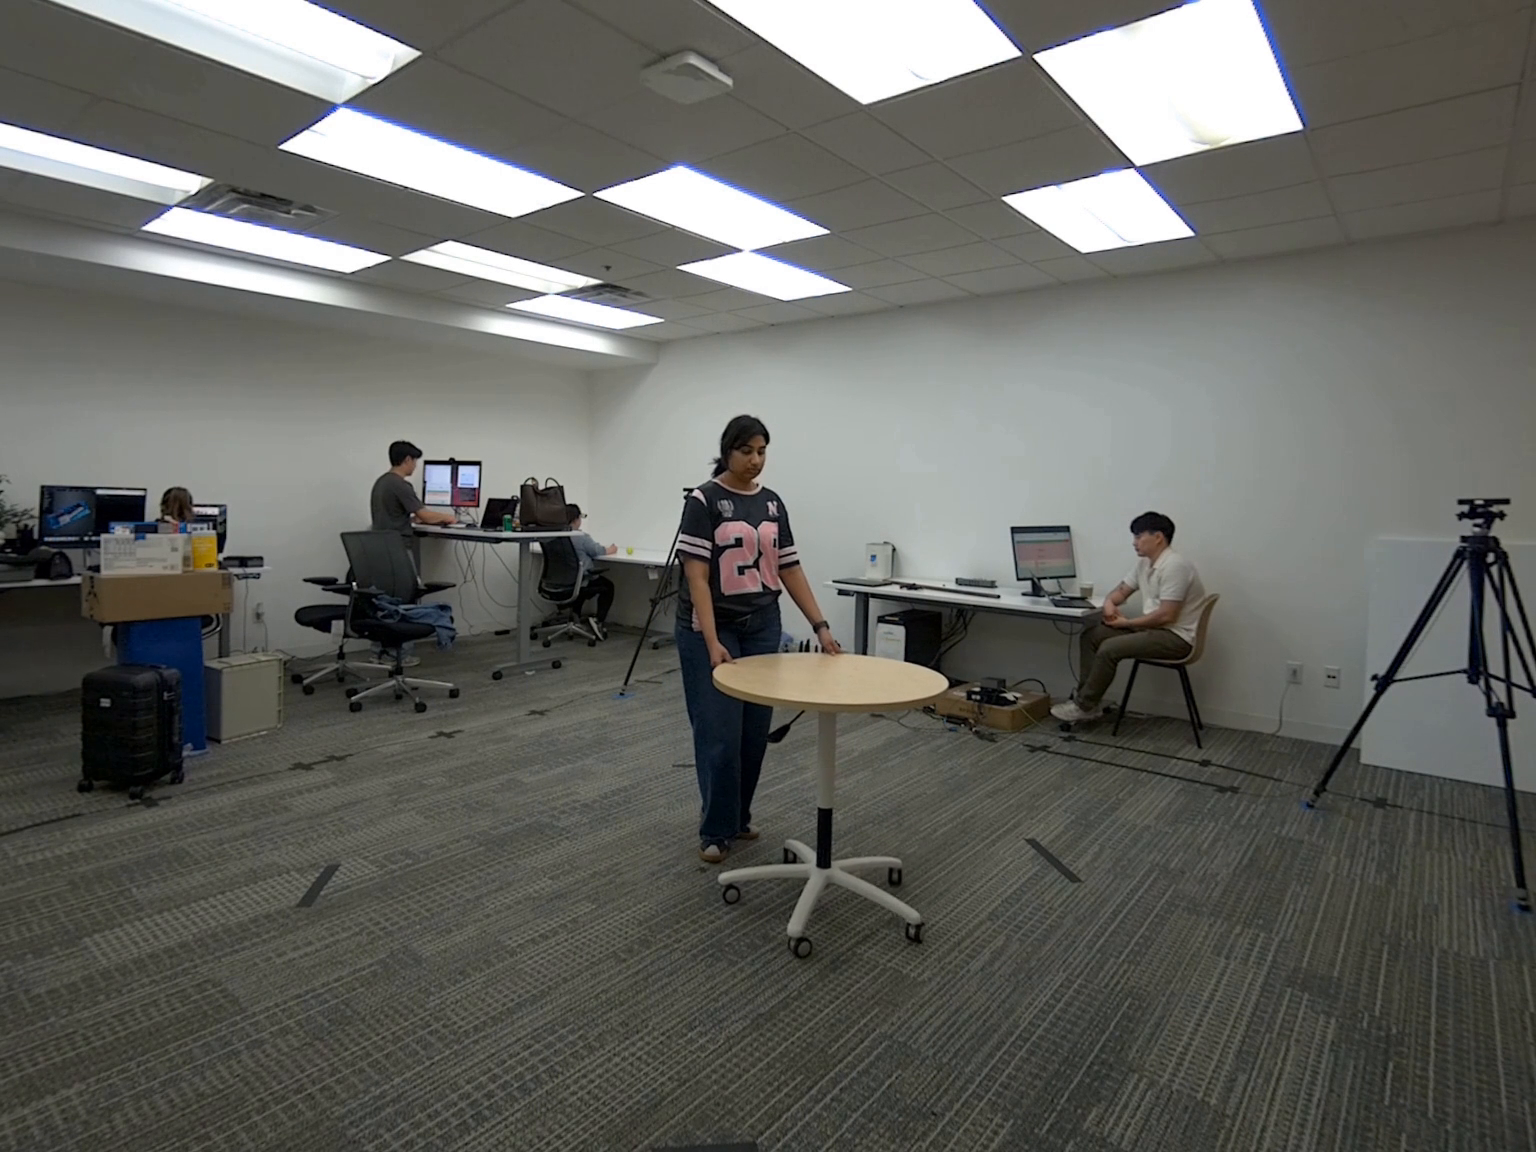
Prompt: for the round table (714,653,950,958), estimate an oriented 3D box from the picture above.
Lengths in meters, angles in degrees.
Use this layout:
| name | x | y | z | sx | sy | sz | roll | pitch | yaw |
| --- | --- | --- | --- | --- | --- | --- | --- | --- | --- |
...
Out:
| name | x | y | z | sx | sy | sz | roll | pitch | yaw |
| --- | --- | --- | --- | --- | --- | --- | --- | --- | --- |
| round table | 0.184 | 0.710 | 2.845 | 0.784 | 0.784 | 0.789 | 1 | 5 | -2 |
